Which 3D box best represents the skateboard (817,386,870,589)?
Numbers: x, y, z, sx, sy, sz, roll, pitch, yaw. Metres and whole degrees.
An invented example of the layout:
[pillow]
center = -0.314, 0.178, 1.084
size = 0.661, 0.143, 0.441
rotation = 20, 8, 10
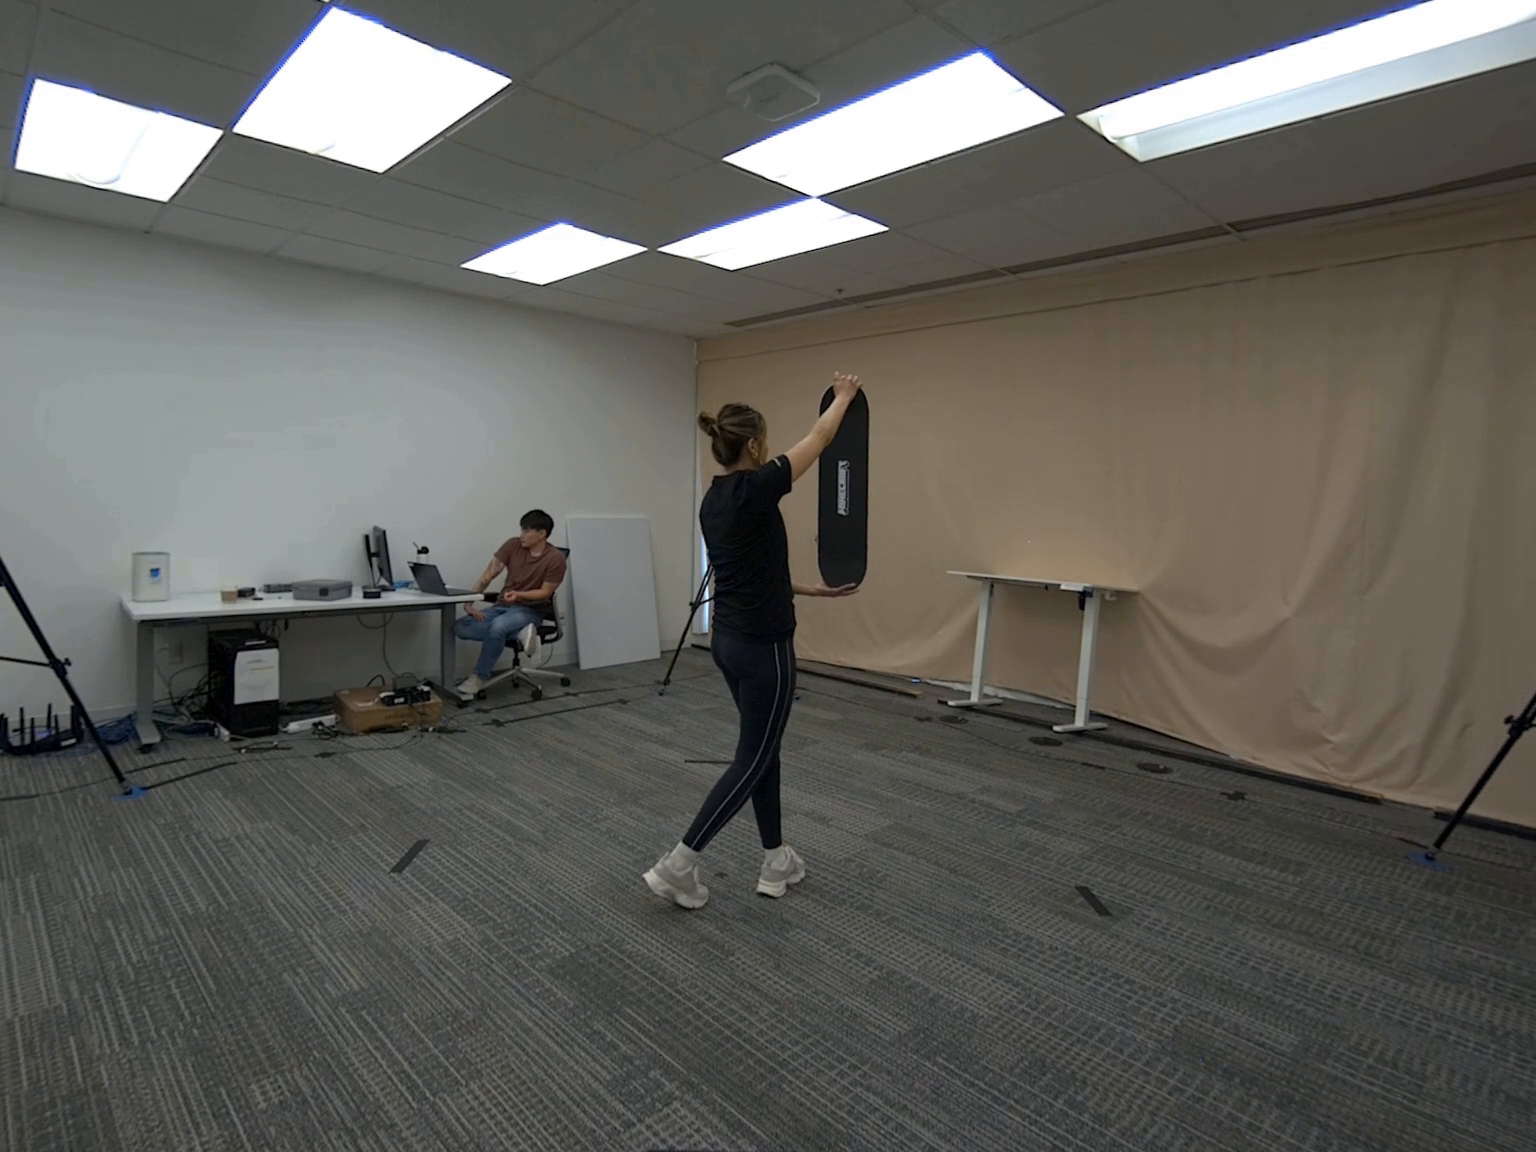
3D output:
[skateboard]
center = 0.273, -0.337, 3.197
size = 0.193, 0.783, 0.111
rotation = 1, 3, -2
